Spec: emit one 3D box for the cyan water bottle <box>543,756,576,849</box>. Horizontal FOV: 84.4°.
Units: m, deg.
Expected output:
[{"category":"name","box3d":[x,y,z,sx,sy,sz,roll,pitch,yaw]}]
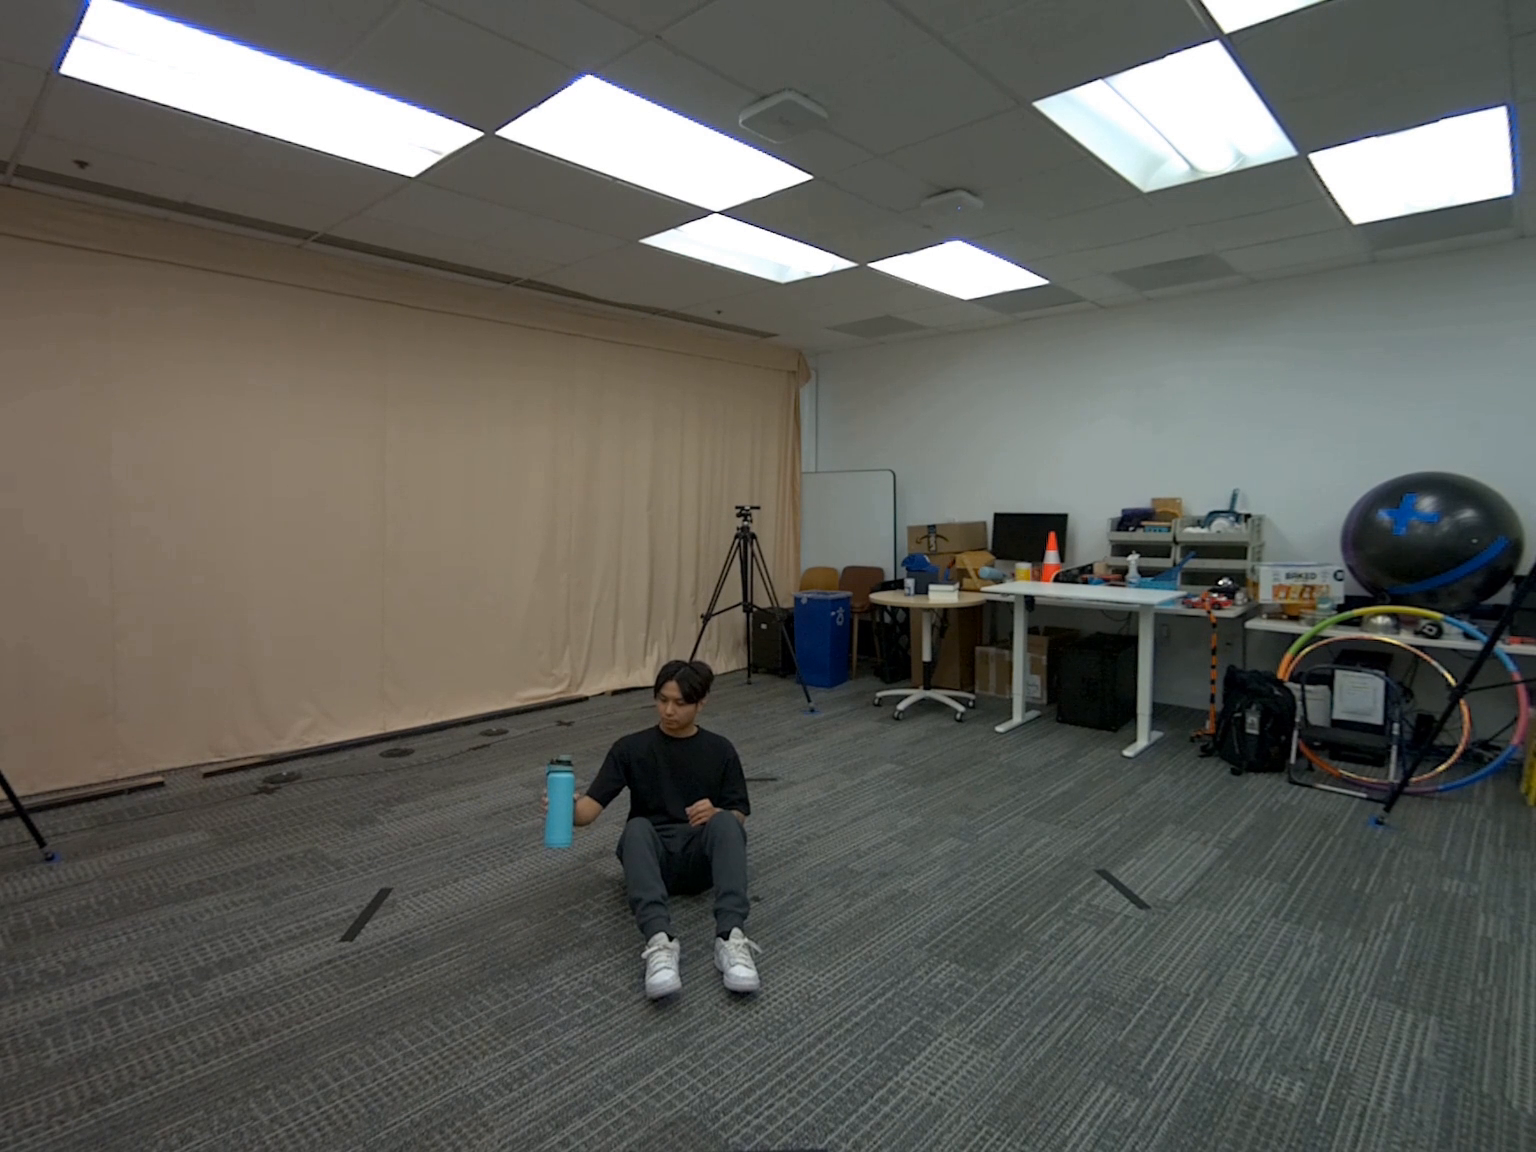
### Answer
[{"category":"cyan water bottle","box3d":[-0.676,0.731,2.732,0.092,0.286,0.091,-3,-14,-3]}]
